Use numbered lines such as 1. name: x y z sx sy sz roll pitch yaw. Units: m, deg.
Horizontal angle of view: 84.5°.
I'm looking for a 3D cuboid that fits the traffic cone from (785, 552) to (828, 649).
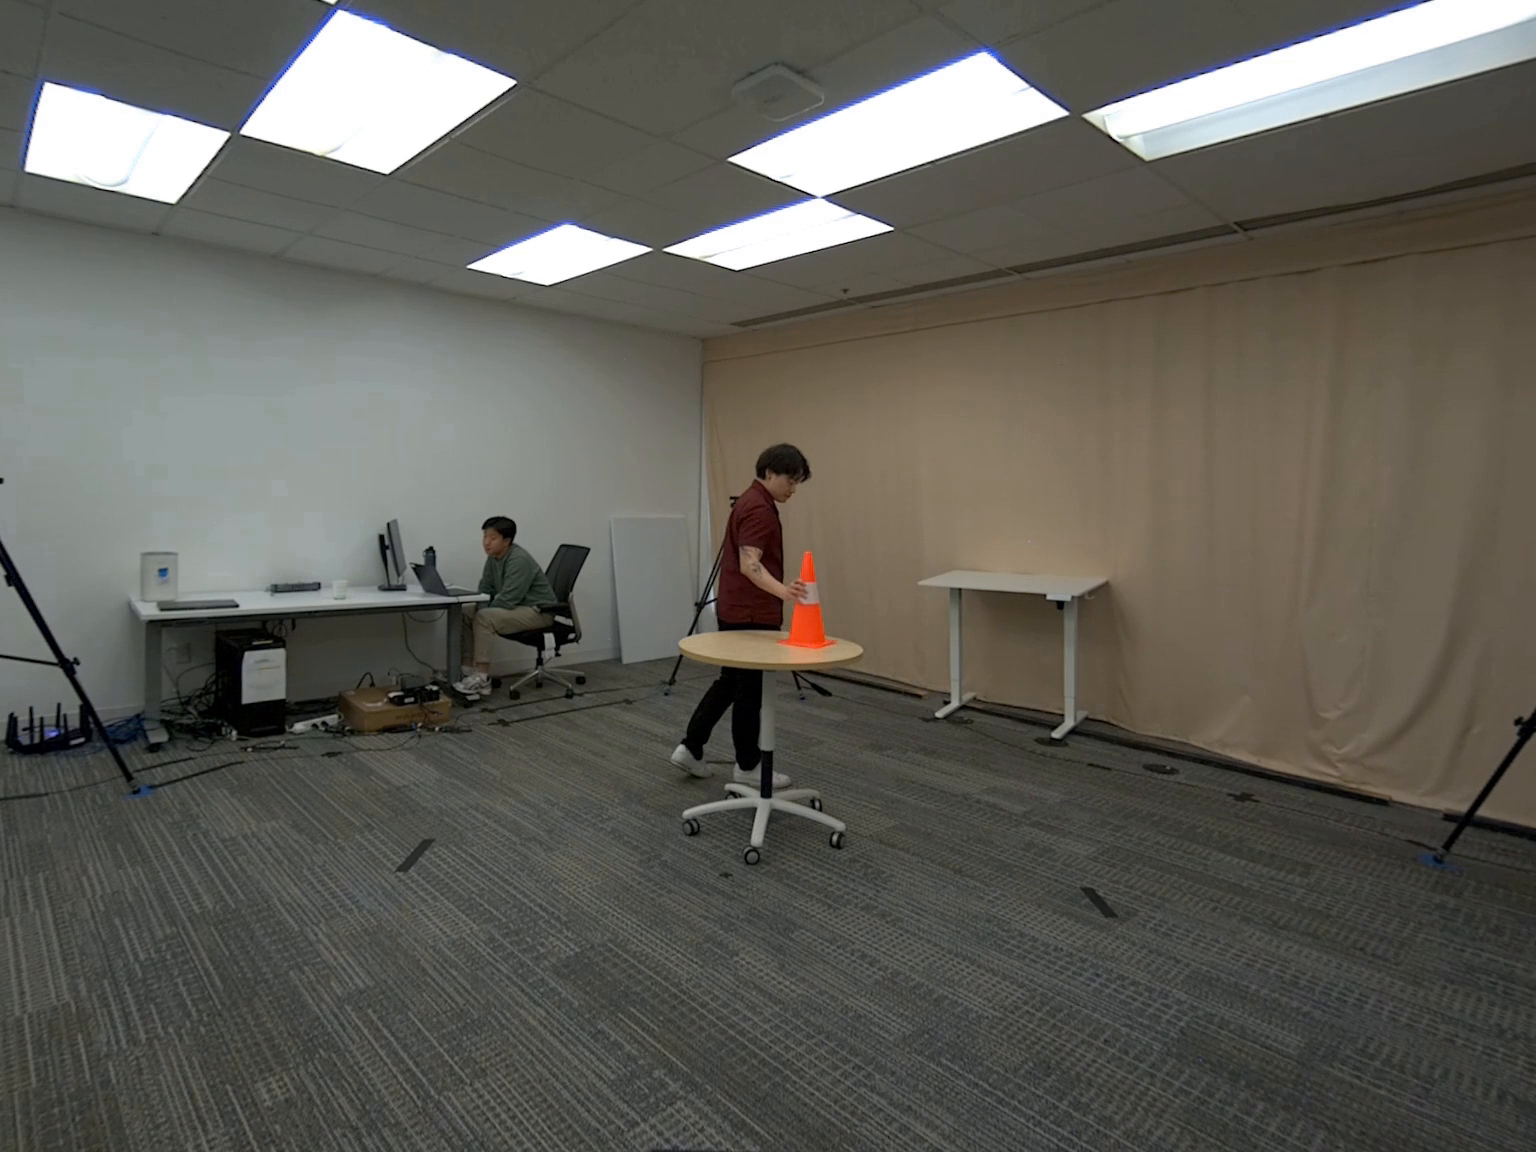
1. traffic cone: 0.163 0.087 3.585 0.208 0.383 0.201 4 4 30
